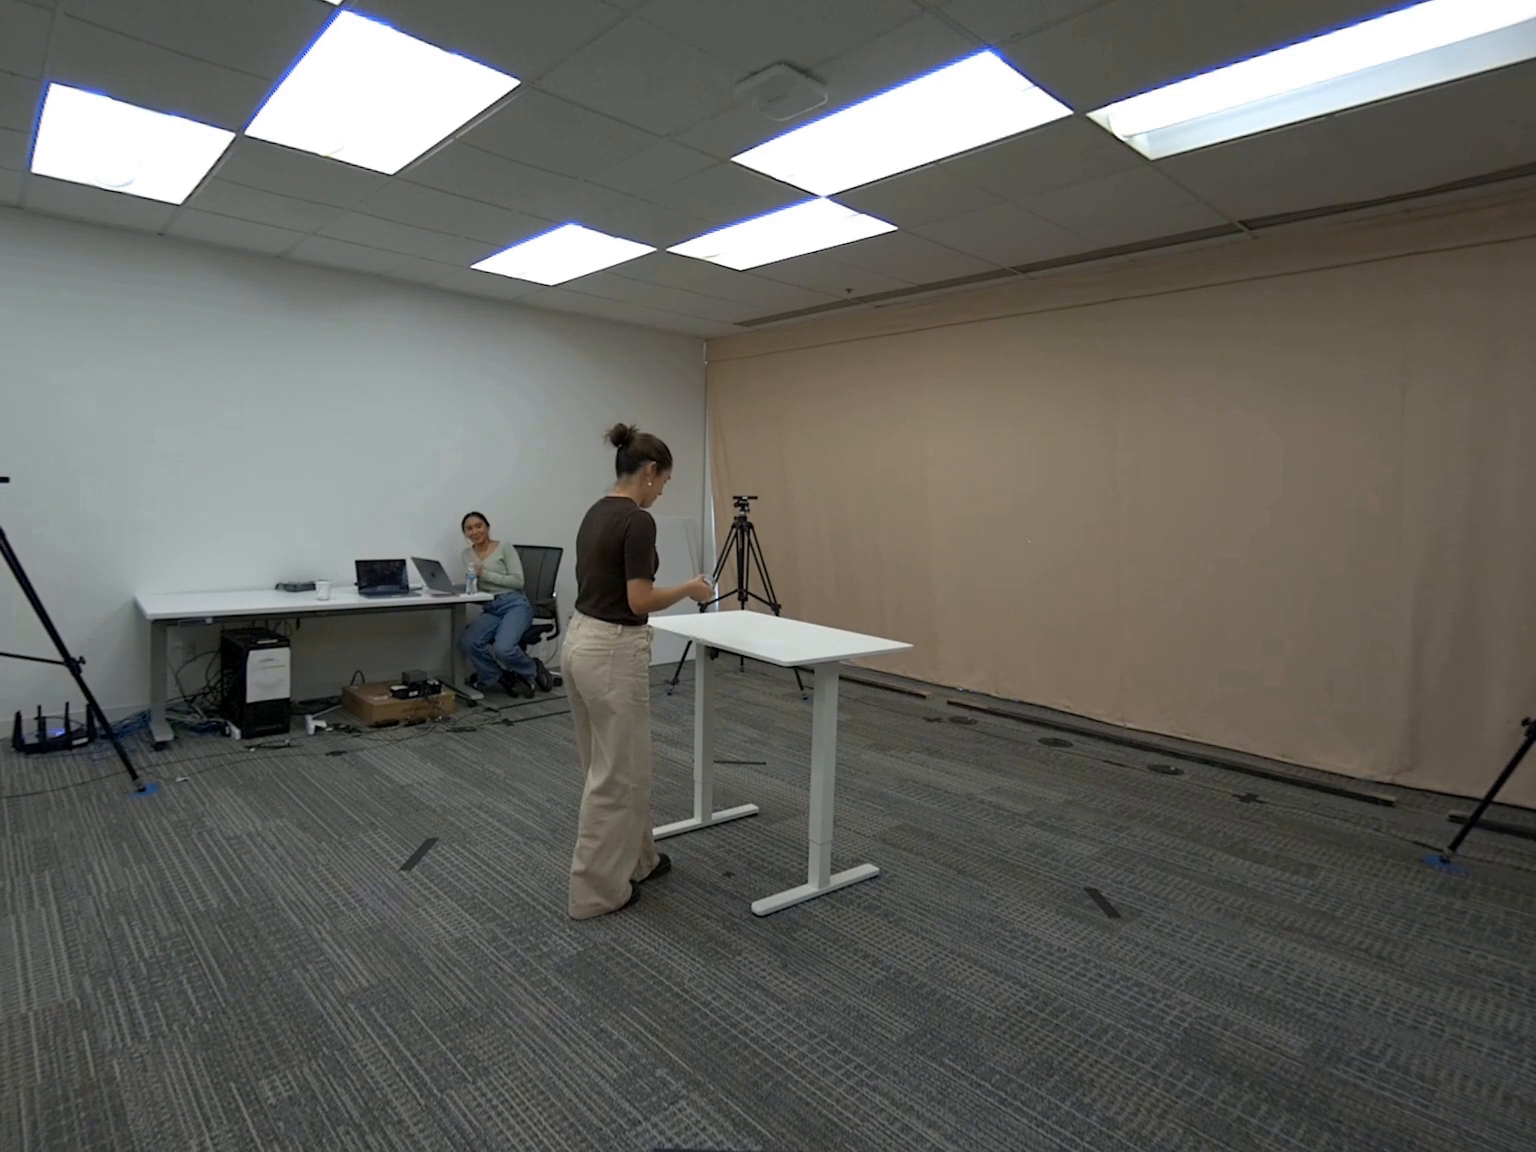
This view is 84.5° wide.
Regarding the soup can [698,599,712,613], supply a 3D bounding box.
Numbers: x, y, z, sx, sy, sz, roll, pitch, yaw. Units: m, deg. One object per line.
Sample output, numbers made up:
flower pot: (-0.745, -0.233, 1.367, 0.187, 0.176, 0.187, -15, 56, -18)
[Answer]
soup can: (-0.231, 0.068, 2.905, 0.067, 0.121, 0.067, -6, 6, -1)
